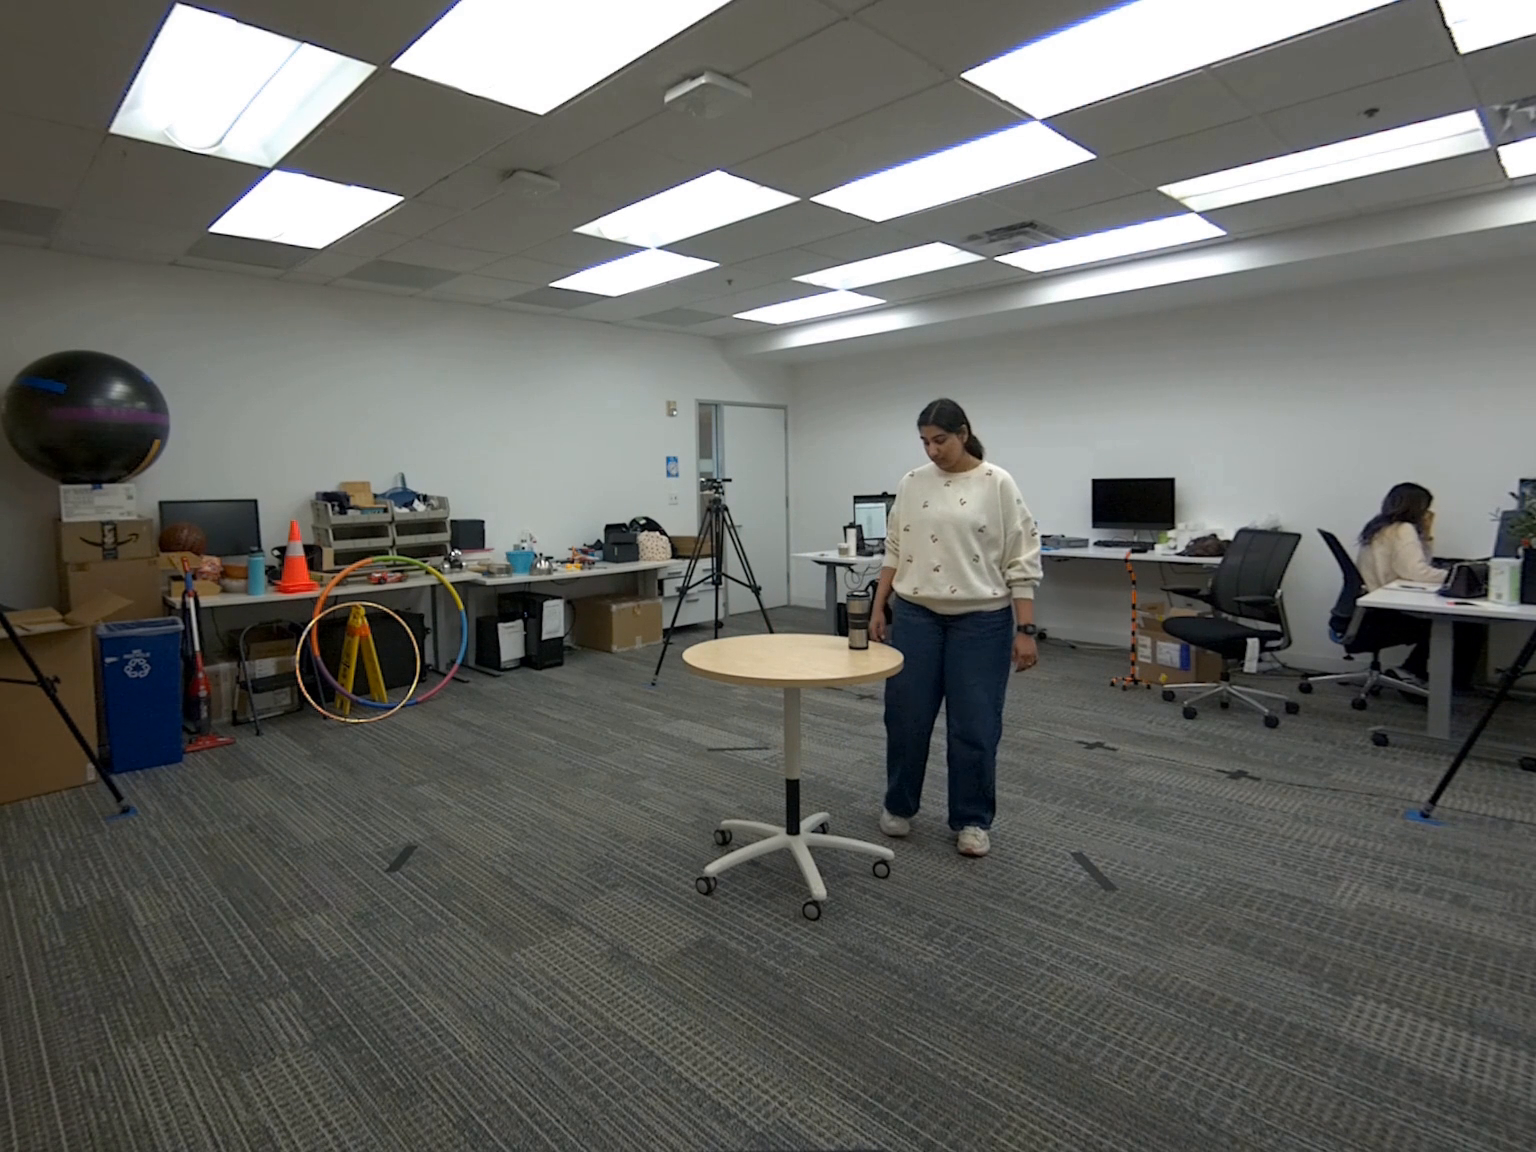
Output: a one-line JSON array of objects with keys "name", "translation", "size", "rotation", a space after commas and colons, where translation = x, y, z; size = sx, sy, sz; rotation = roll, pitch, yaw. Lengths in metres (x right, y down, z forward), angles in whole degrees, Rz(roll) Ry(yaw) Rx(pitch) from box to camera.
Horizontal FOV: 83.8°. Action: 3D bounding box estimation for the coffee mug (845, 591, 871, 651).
[{"name": "coffee mug", "translation": [0.344, 0.161, 3.079], "size": [0.119, 0.203, 0.090], "rotation": [-6, 2, -39]}]
